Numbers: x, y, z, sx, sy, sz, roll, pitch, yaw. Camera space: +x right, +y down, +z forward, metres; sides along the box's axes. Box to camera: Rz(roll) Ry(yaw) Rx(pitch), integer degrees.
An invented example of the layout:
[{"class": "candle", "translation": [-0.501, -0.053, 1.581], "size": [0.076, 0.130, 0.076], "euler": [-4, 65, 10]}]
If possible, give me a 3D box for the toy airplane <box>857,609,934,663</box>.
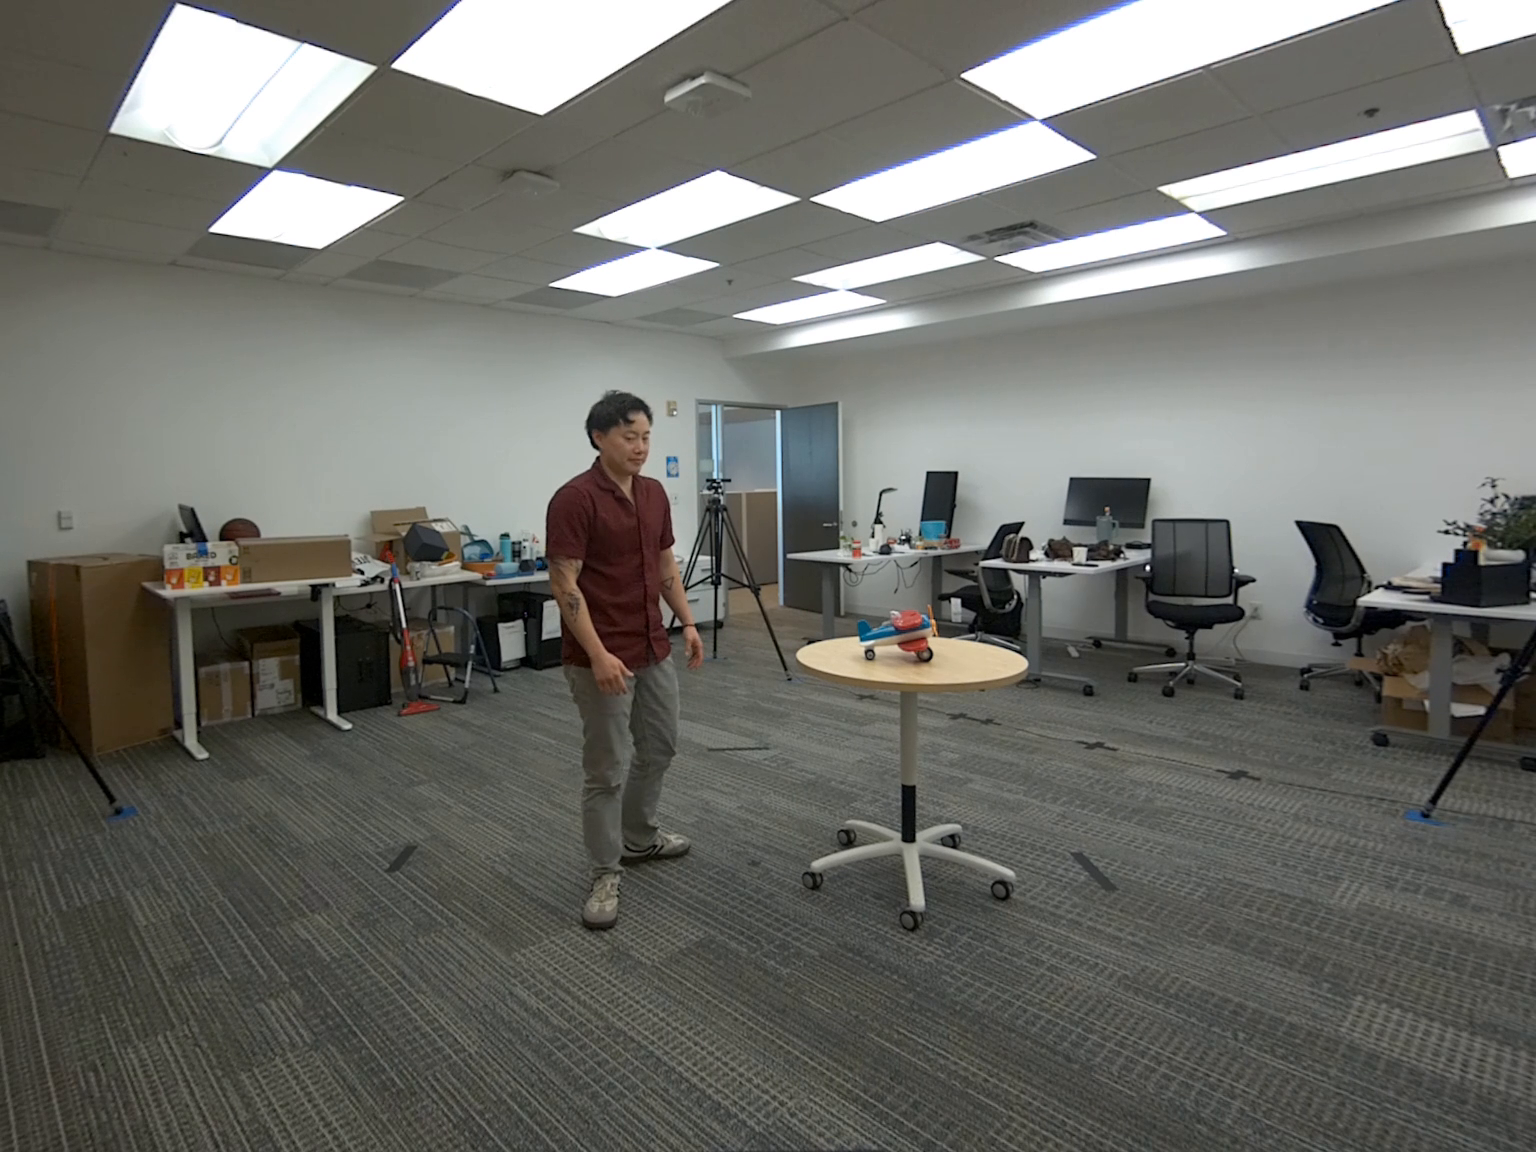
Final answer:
[{"class": "toy airplane", "translation": [0.434, 0.201, 2.843], "size": [0.253, 0.156, 0.258], "euler": [-2, 6, -27]}]
